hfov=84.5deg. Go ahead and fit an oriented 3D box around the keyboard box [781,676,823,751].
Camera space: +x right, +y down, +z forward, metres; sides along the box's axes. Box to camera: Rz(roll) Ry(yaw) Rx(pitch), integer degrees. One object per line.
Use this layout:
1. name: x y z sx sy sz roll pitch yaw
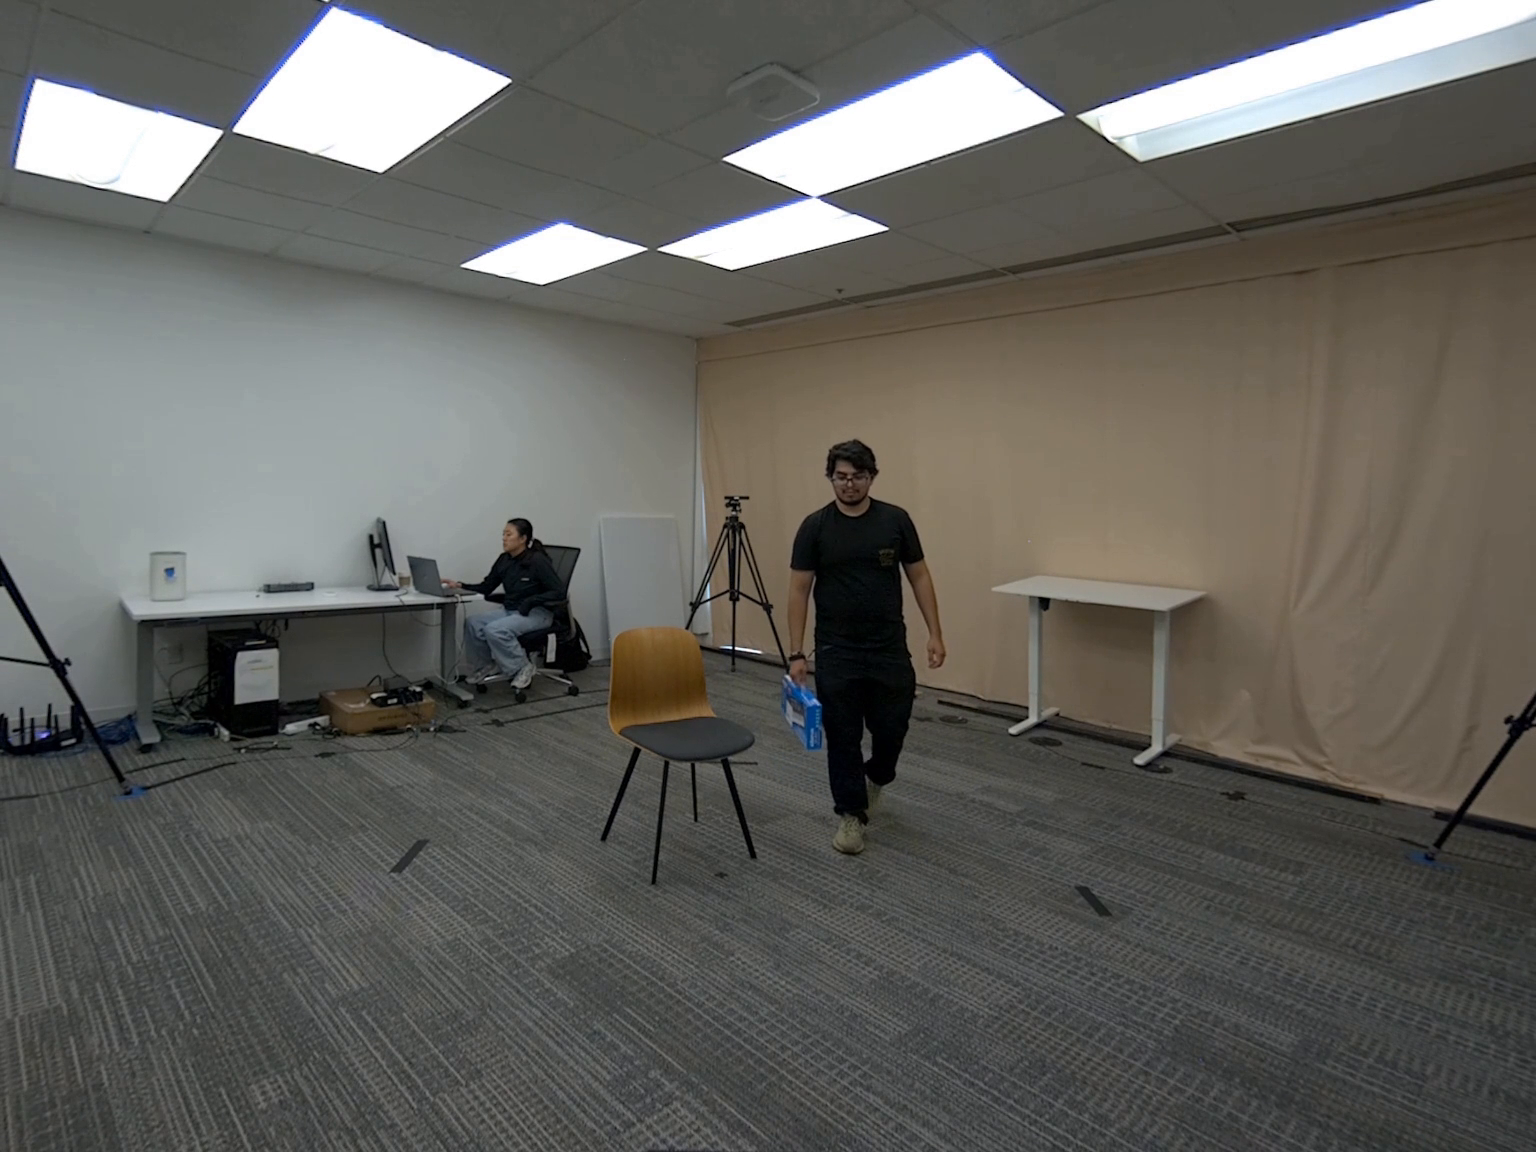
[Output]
1. keyboard box: 0.130 0.534 3.401 0.058 0.175 0.443 -3 8 -11
